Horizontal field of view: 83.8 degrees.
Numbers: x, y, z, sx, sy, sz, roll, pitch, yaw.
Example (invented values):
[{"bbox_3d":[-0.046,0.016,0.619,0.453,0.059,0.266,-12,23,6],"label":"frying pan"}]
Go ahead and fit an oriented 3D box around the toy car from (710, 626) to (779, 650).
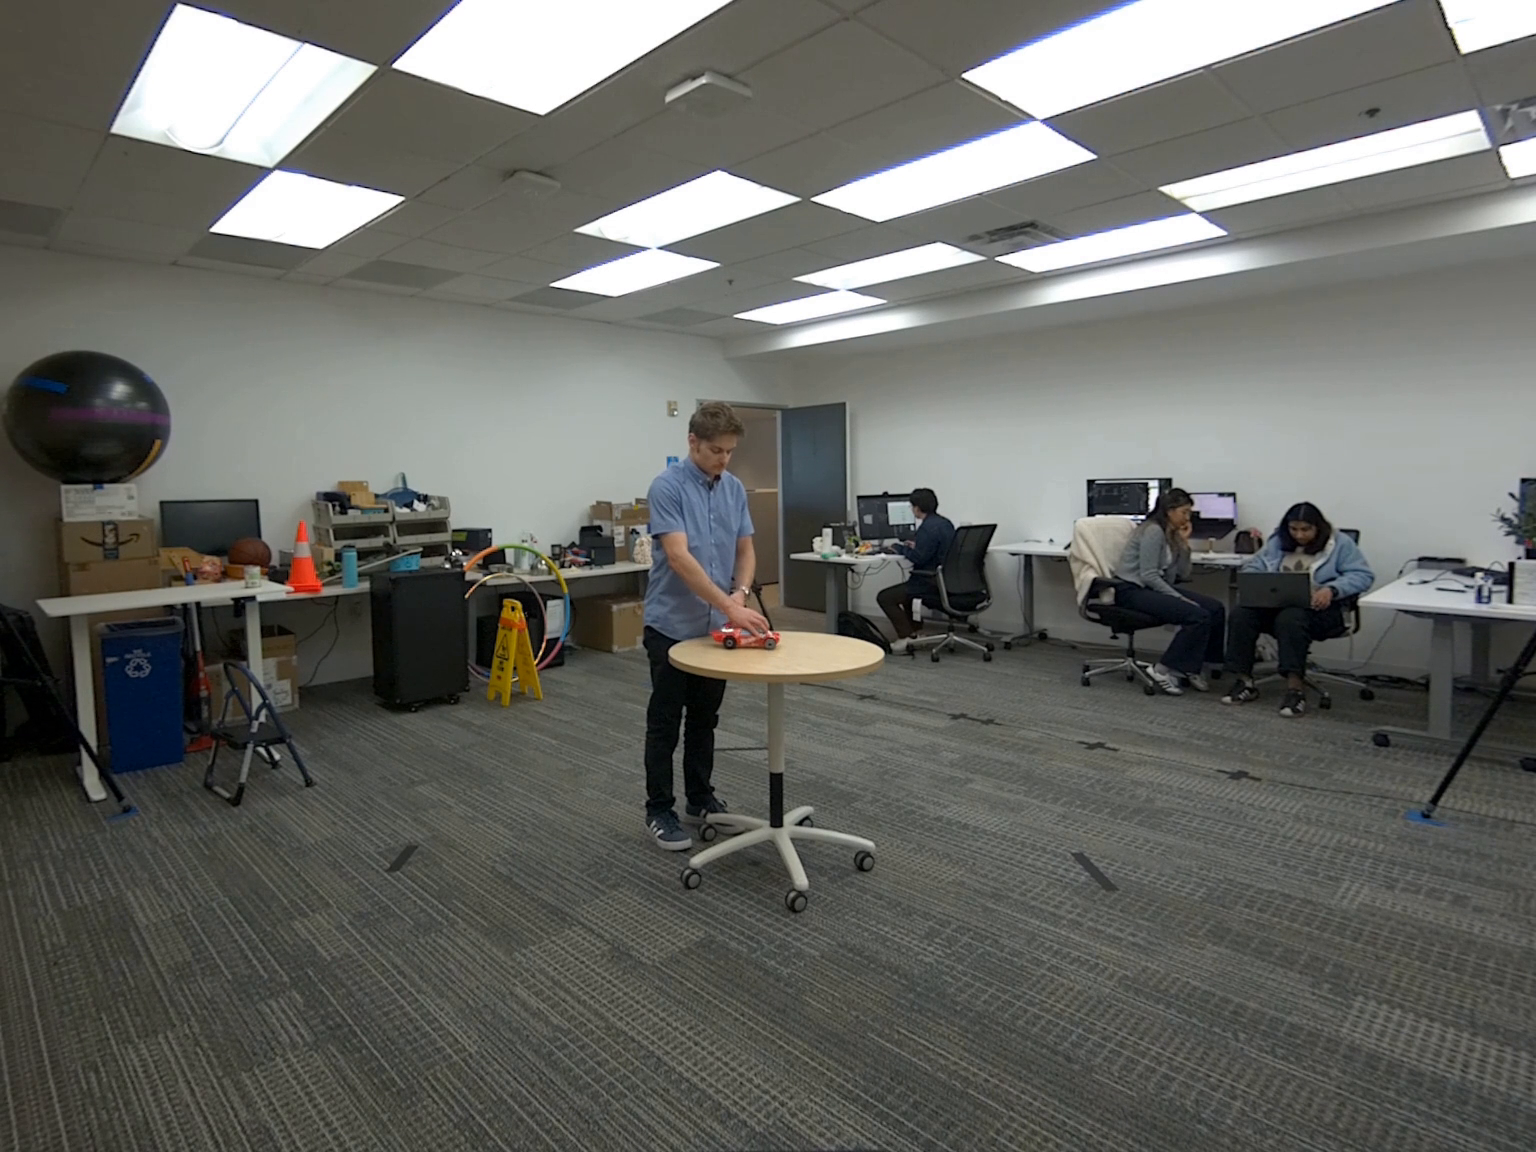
[{"bbox_3d":[-0.081,0.228,3.115,0.255,0.083,0.130,11,5,1],"label":"toy car"}]
